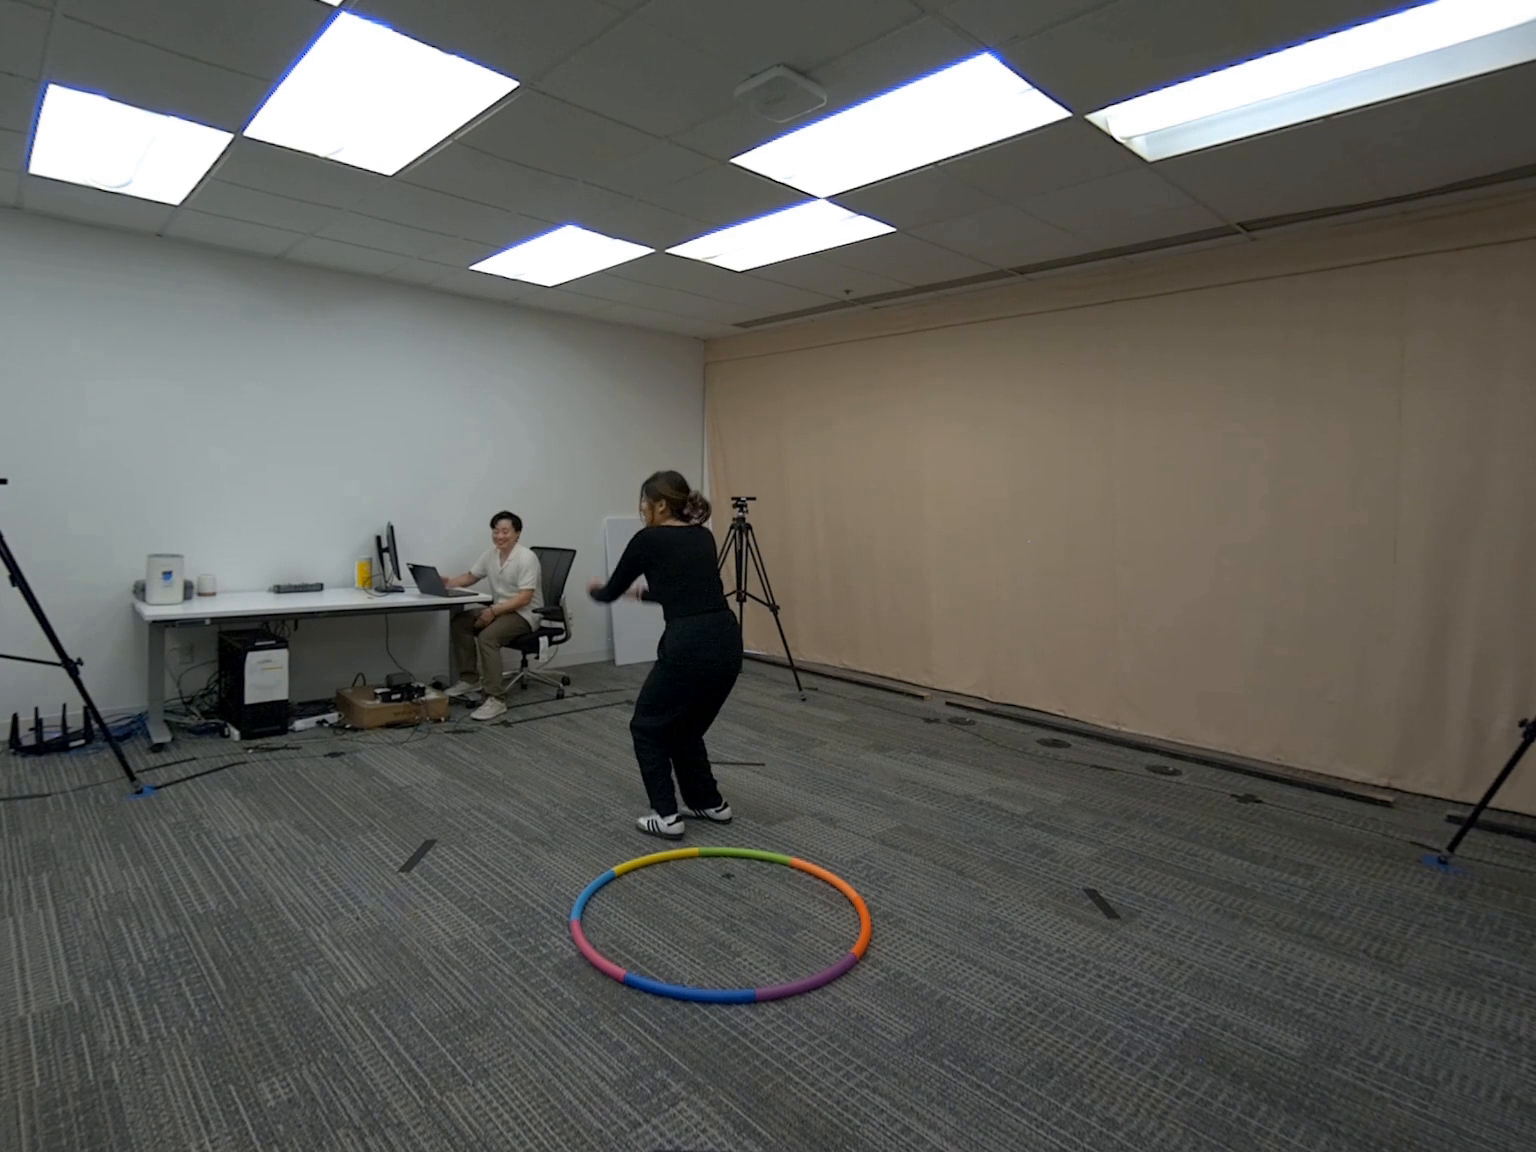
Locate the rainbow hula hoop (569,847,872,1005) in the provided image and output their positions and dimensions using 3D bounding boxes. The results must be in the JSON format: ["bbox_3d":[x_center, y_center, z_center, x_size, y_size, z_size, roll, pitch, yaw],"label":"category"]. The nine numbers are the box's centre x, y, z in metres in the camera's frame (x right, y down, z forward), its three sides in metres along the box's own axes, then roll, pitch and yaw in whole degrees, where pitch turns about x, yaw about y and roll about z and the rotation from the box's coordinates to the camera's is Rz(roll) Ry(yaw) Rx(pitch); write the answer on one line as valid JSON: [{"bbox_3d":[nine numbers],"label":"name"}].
[{"bbox_3d":[-0.165,1.105,2.800,0.978,0.035,0.982,1,5,-1],"label":"rainbow hula hoop"}]
